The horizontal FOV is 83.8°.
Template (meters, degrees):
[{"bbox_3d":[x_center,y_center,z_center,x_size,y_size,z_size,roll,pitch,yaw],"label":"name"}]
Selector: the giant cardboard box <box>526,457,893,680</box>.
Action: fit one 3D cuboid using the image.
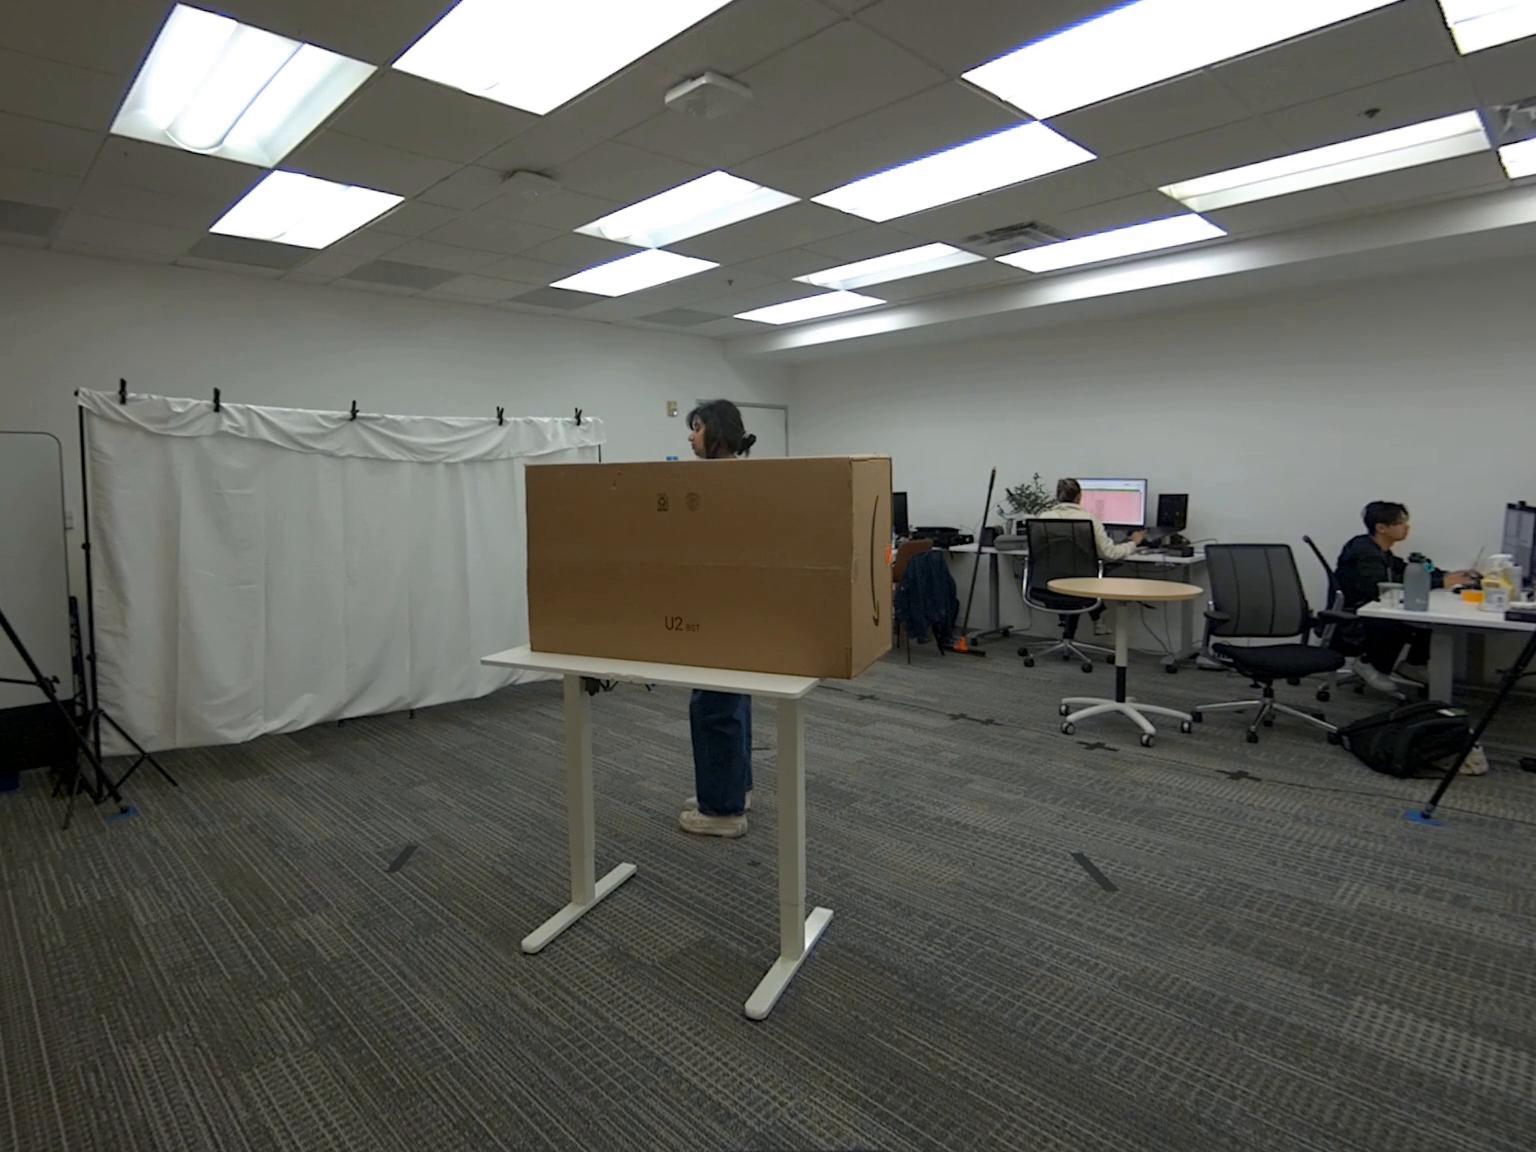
[{"bbox_3d":[-0.181,-0.059,2.571,1.049,0.575,0.418,2,5,24],"label":"giant cardboard box"}]
